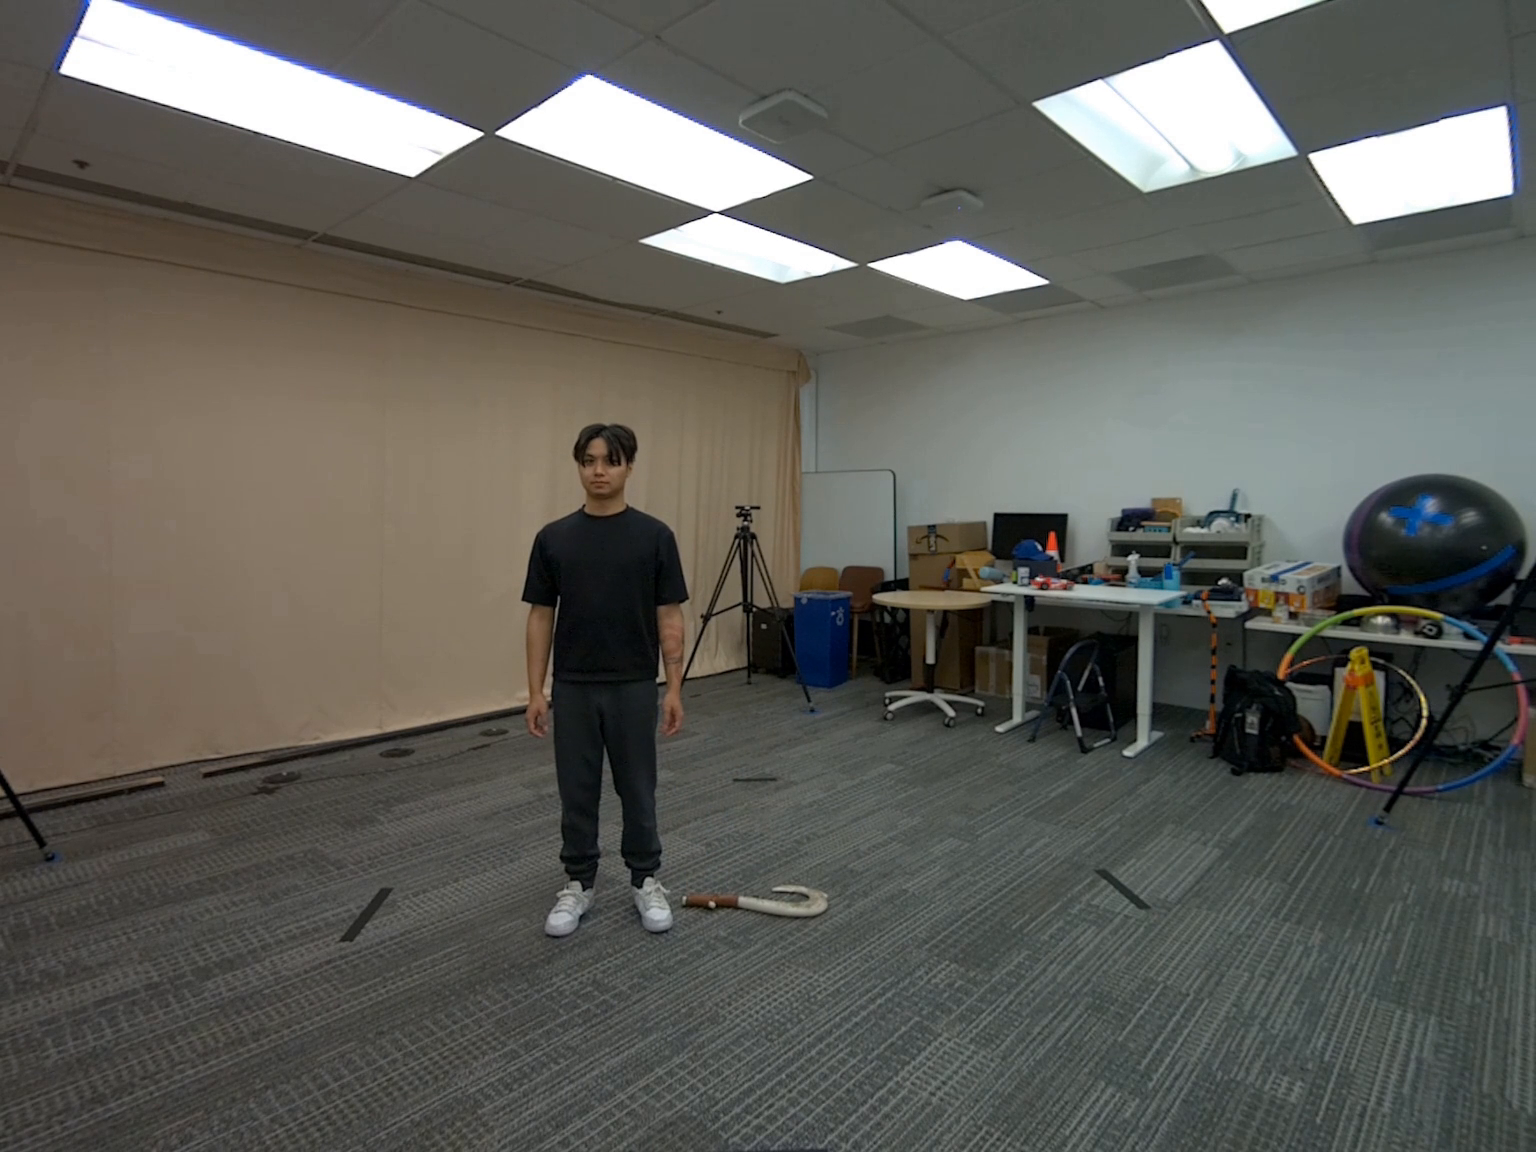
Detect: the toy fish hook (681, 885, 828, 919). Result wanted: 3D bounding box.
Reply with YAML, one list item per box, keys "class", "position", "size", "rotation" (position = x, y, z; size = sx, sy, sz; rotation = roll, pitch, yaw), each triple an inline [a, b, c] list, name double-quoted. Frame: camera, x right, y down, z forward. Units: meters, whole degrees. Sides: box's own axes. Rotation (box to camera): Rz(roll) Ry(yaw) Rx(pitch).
- class: "toy fish hook"
  position: [-0.044, 1.134, 2.949]
  size: [0.510, 0.048, 0.222]
  rotation: [1, -3, 6]
